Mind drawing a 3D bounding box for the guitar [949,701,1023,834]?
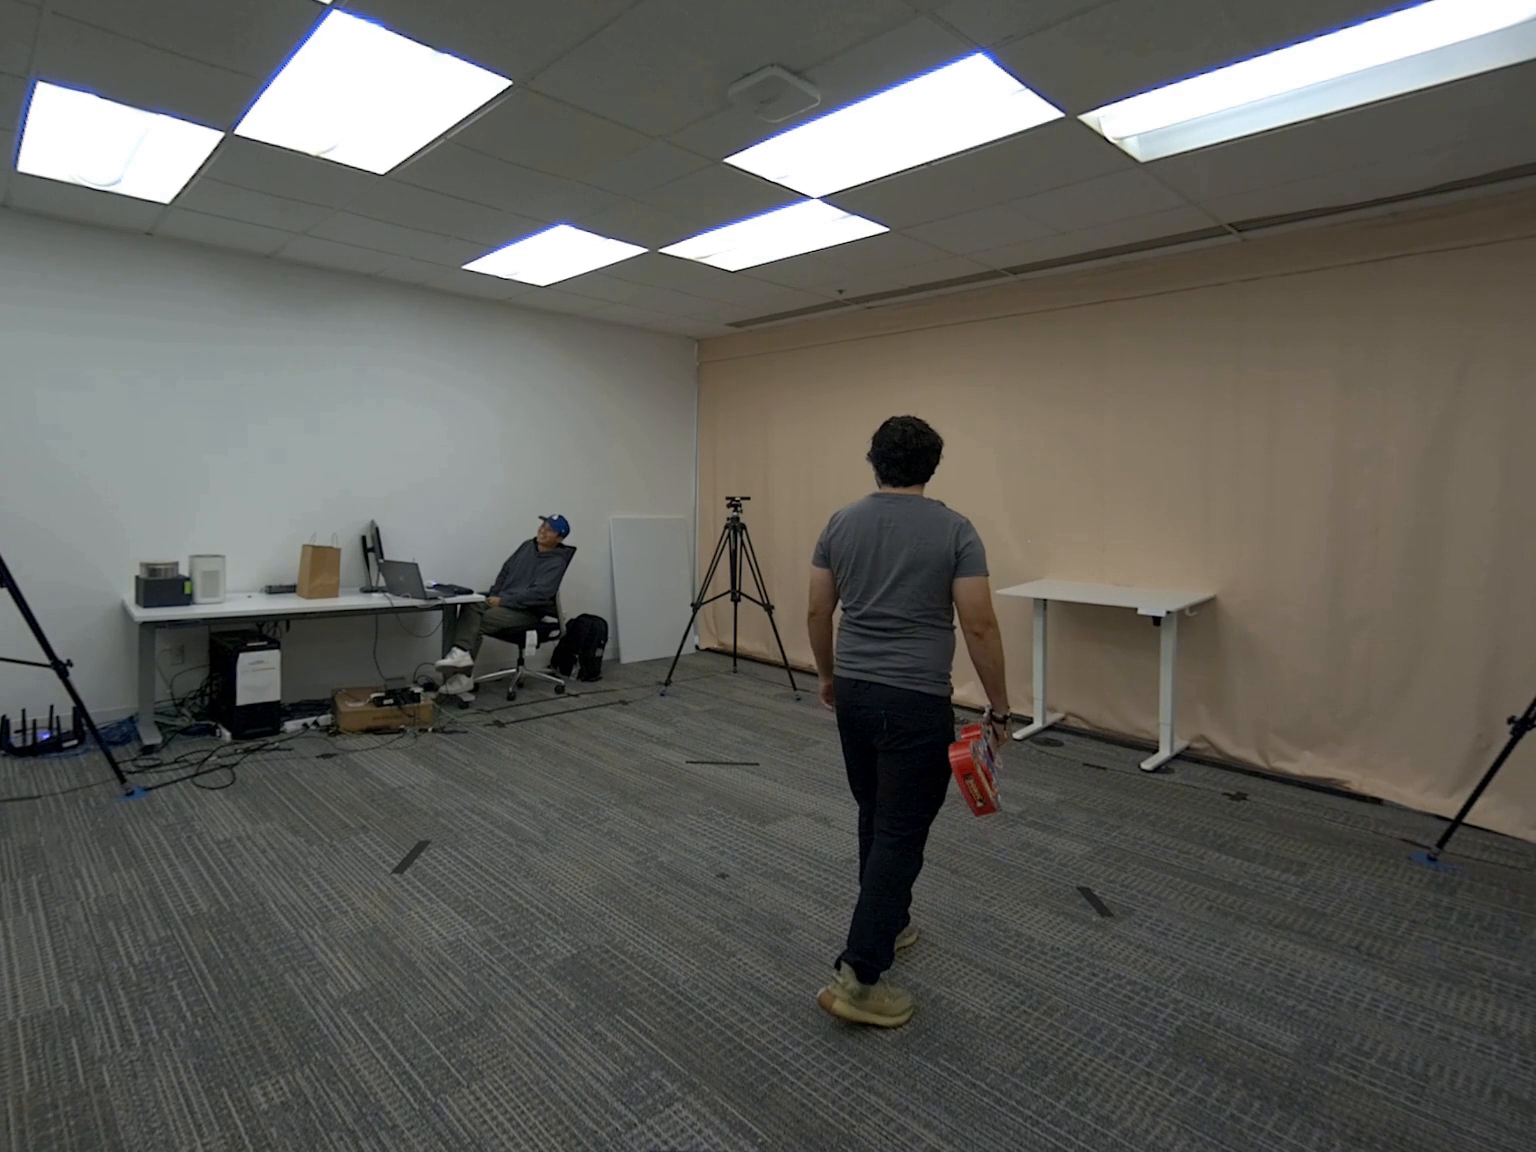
[{"bbox_3d":[0.602,0.503,2.321,0.071,0.193,0.492,-22,-1,24],"label":"guitar"}]
